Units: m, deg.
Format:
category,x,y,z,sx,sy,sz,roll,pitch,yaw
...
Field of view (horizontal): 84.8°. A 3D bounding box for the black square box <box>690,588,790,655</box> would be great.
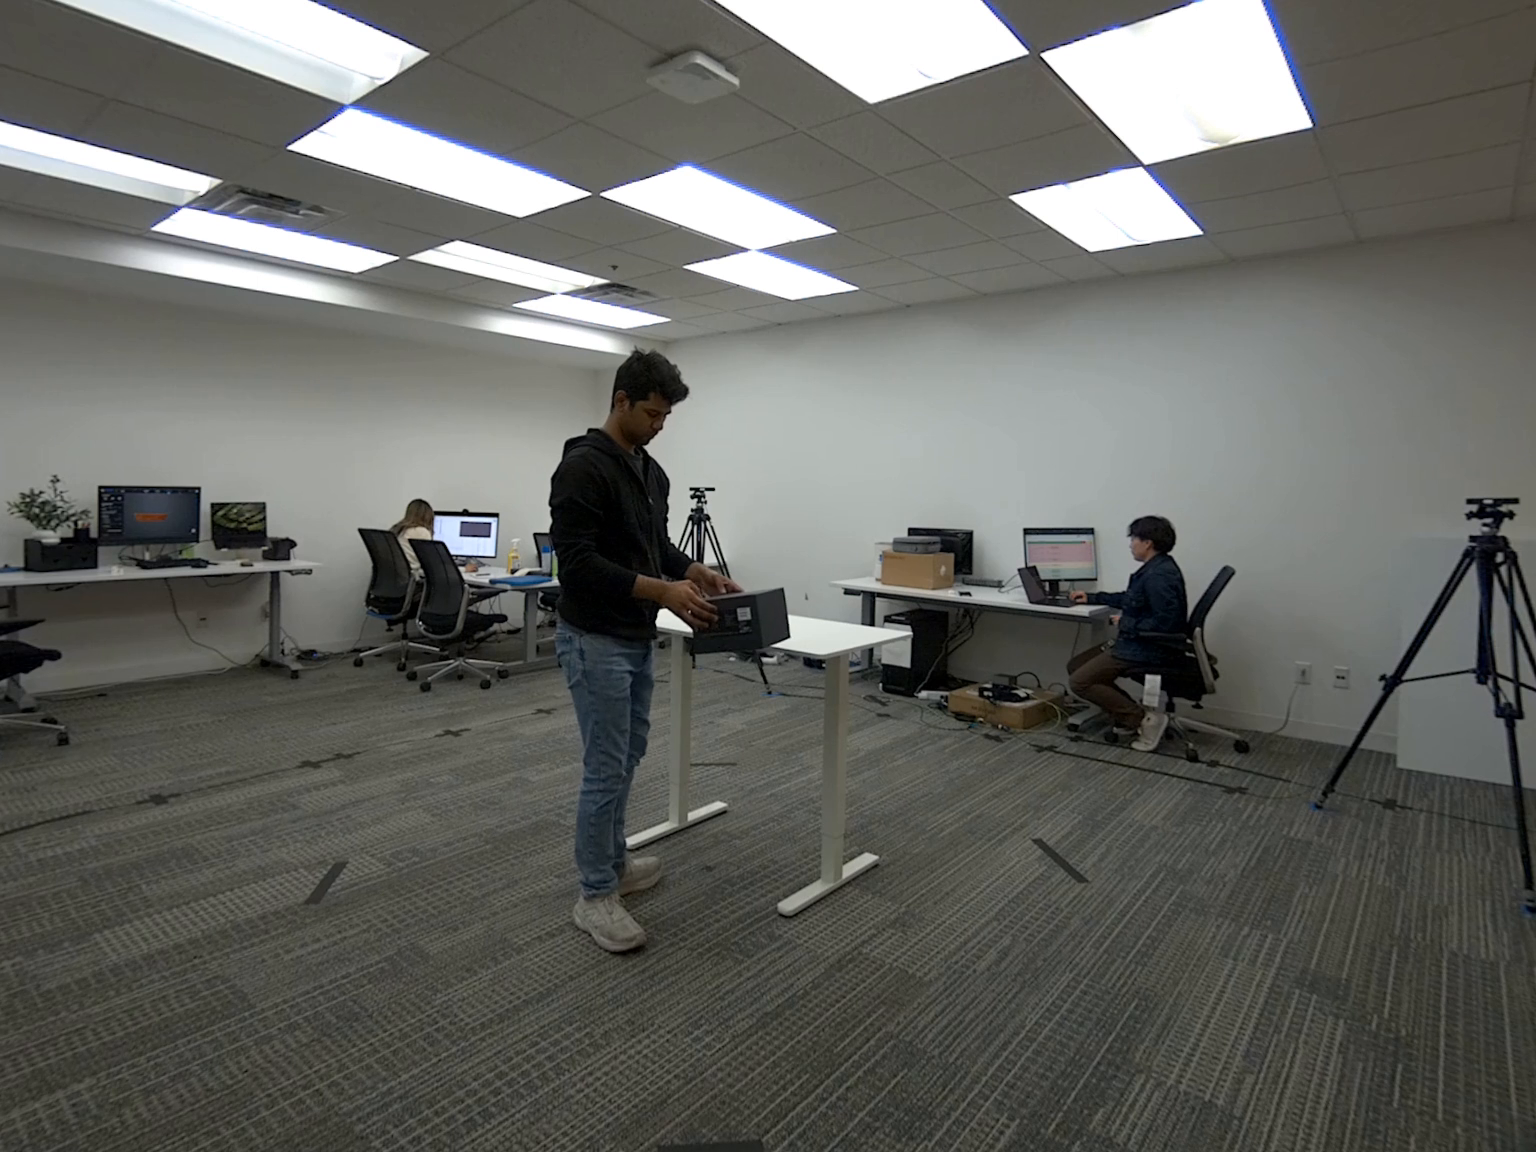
category,x,y,z,sx,sy,sz,roll,pitch,yaw
black square box,-0.088,0.138,2.528,0.221,0.156,0.223,-7,0,22
